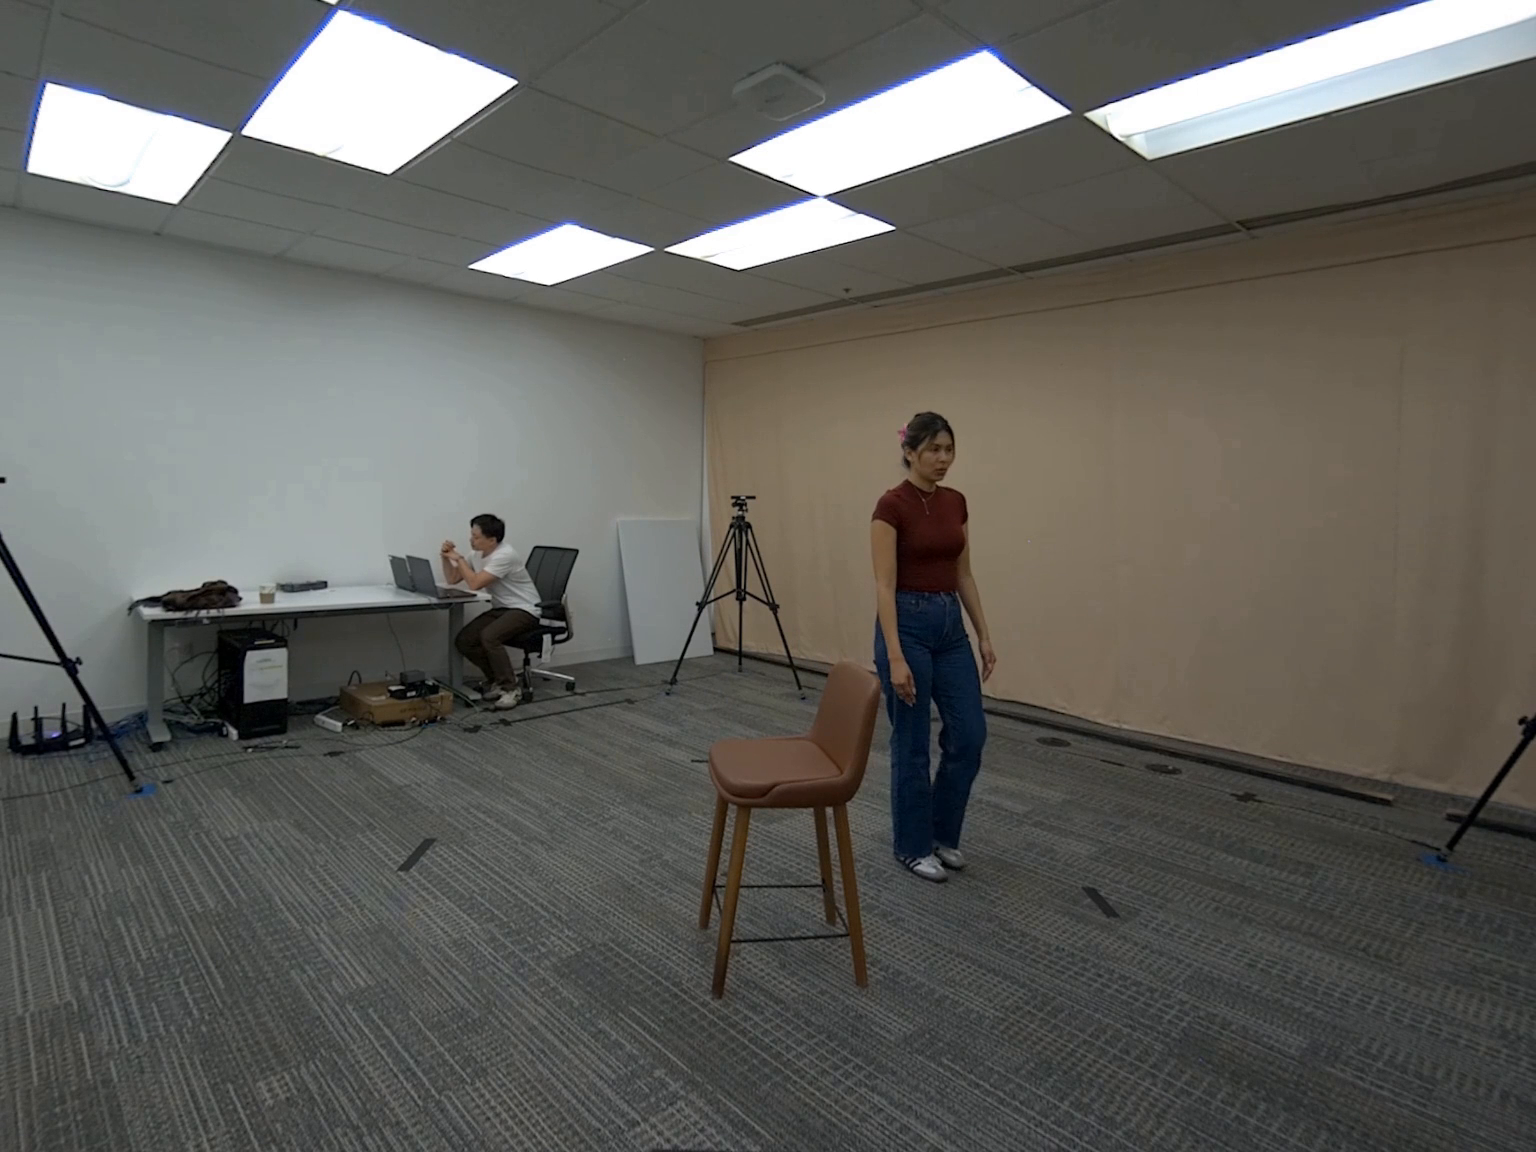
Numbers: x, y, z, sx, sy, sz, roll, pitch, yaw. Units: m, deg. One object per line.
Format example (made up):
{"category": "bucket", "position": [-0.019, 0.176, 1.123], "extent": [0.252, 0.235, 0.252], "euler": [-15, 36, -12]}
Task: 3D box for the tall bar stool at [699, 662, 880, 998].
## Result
{"category": "tall bar stool", "position": [0.048, 0.728, 2.533], "extent": [0.464, 0.887, 0.461], "euler": [2, 4, -10]}
